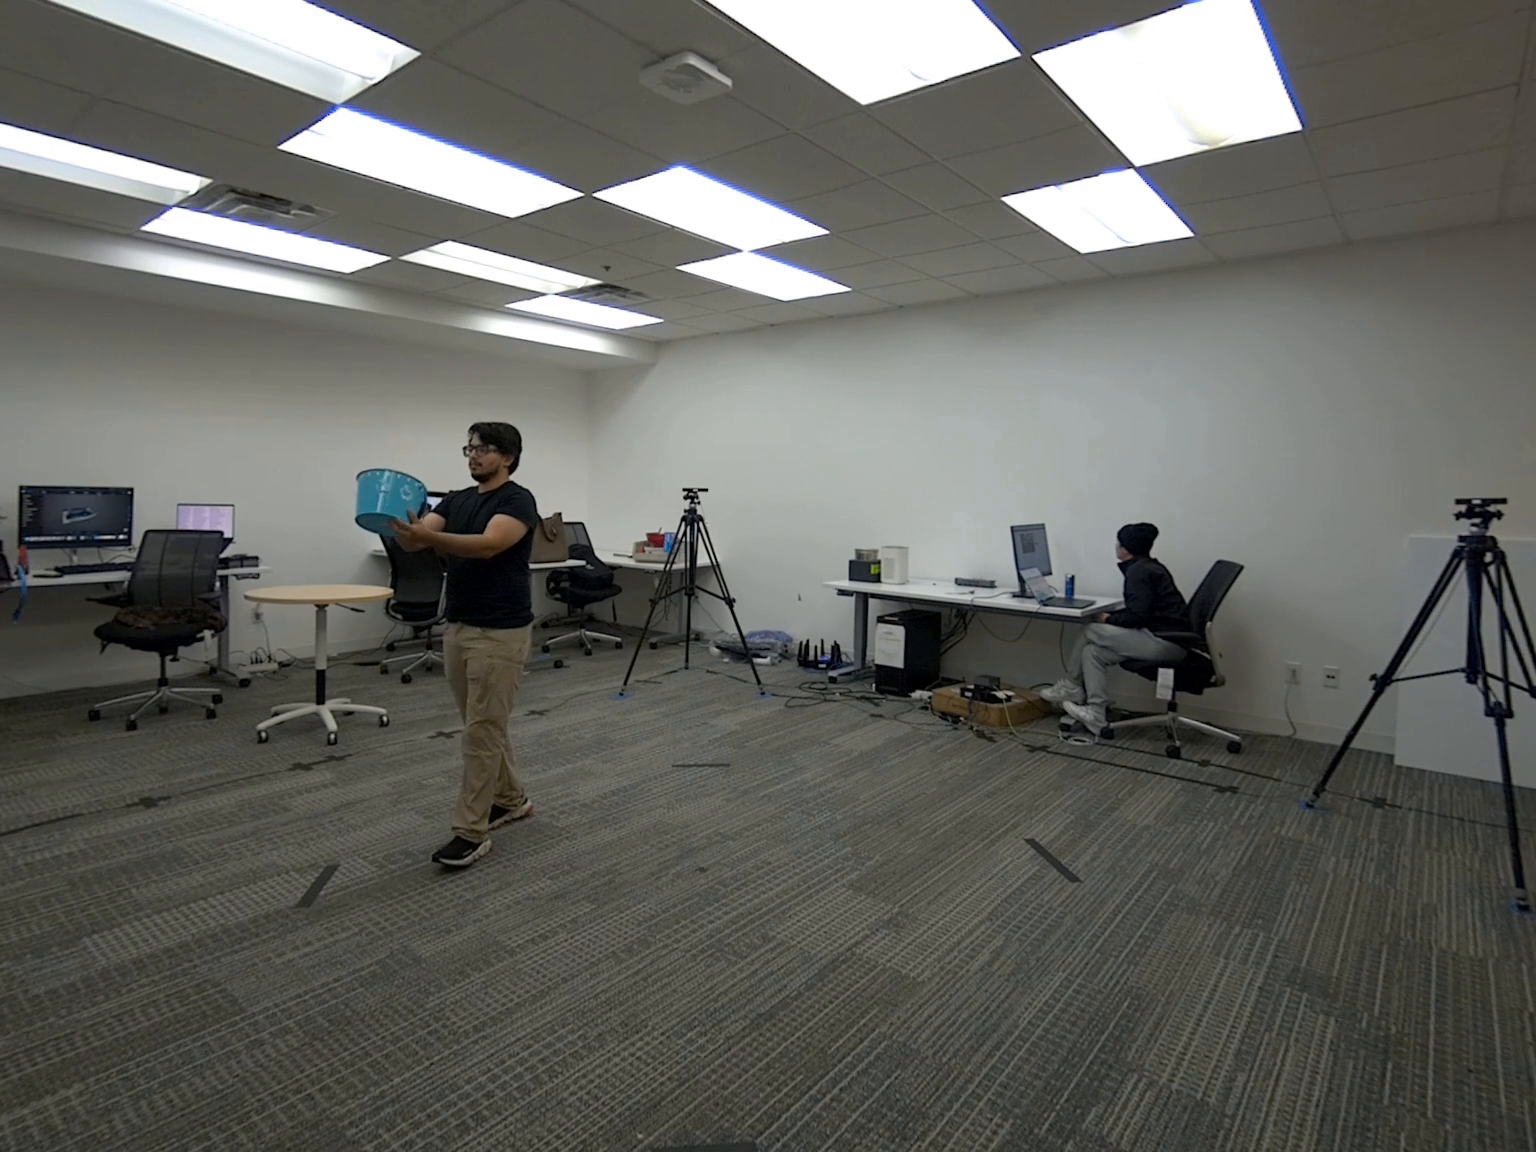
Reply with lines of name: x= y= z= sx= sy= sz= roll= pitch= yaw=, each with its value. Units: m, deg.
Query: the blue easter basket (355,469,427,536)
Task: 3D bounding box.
blue easter basket: x=-1.326 y=-0.246 z=2.882 sx=0.243 sy=0.159 sz=0.239 roll=1 pitch=-20 yaw=-1
